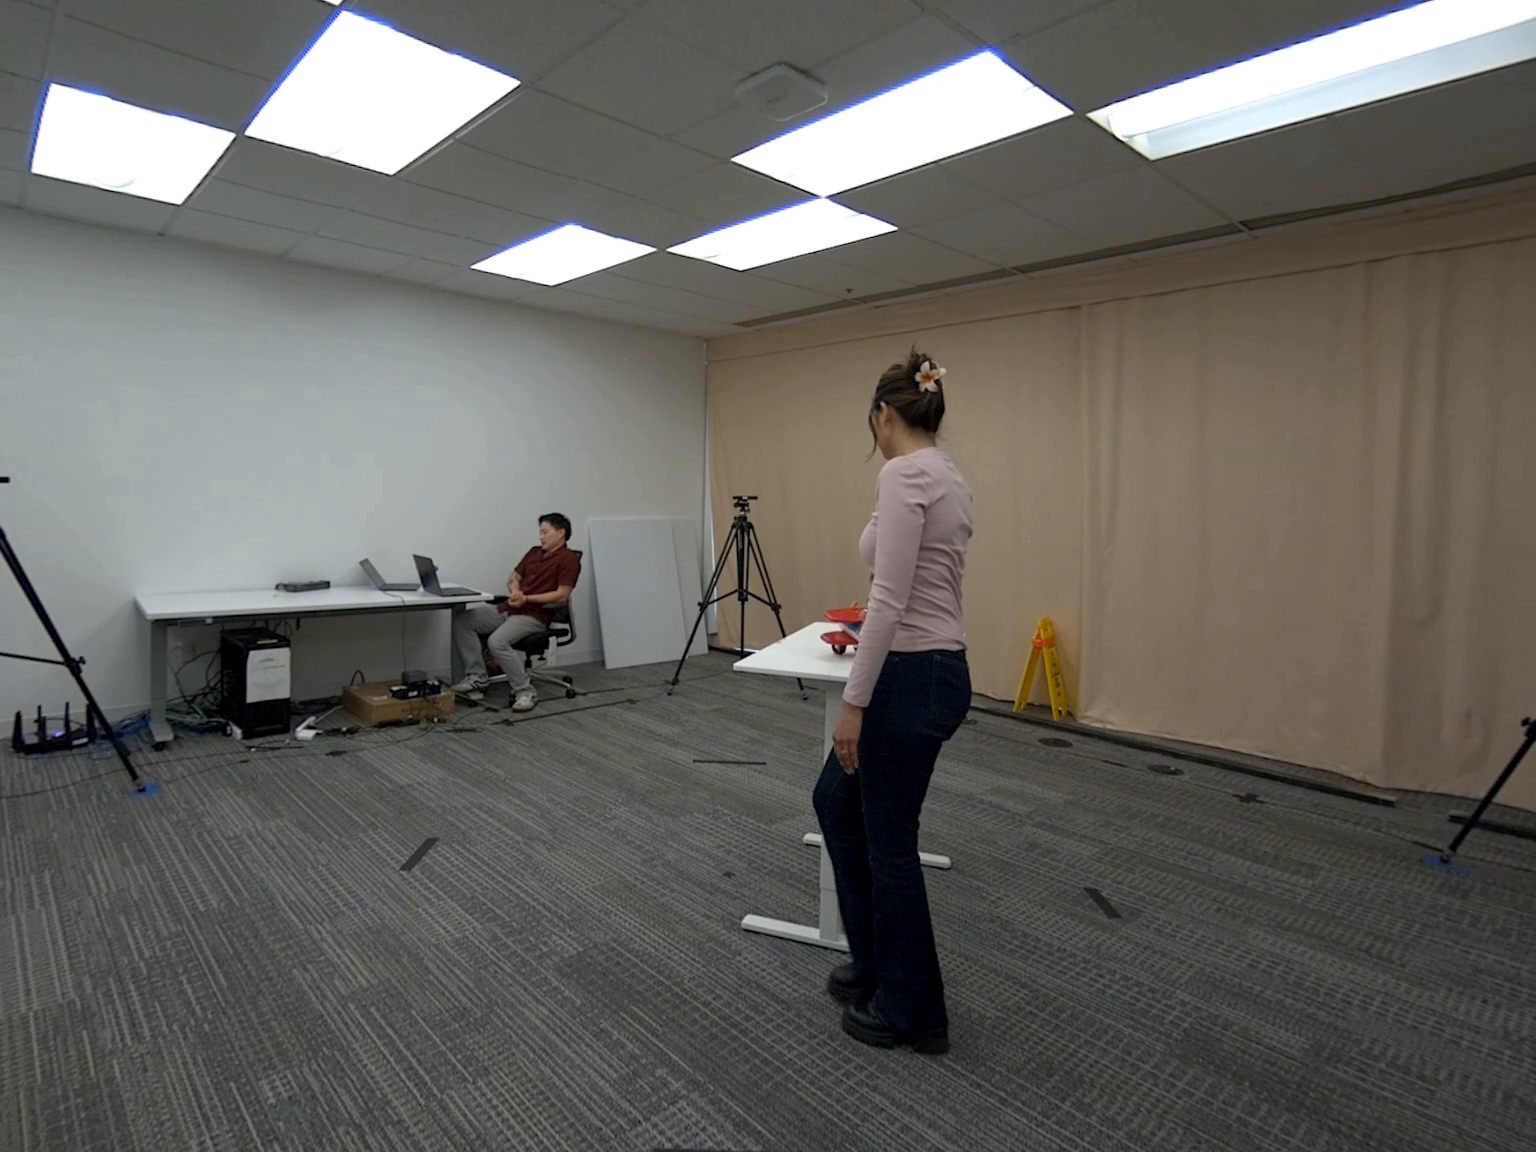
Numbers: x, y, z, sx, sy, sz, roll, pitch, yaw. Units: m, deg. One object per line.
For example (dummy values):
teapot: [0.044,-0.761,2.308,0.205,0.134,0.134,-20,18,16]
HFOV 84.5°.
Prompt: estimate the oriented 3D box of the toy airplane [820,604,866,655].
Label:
toy airplane: [0.320,0.193,2.737,0.265,0.156,0.246,4,8,38]
